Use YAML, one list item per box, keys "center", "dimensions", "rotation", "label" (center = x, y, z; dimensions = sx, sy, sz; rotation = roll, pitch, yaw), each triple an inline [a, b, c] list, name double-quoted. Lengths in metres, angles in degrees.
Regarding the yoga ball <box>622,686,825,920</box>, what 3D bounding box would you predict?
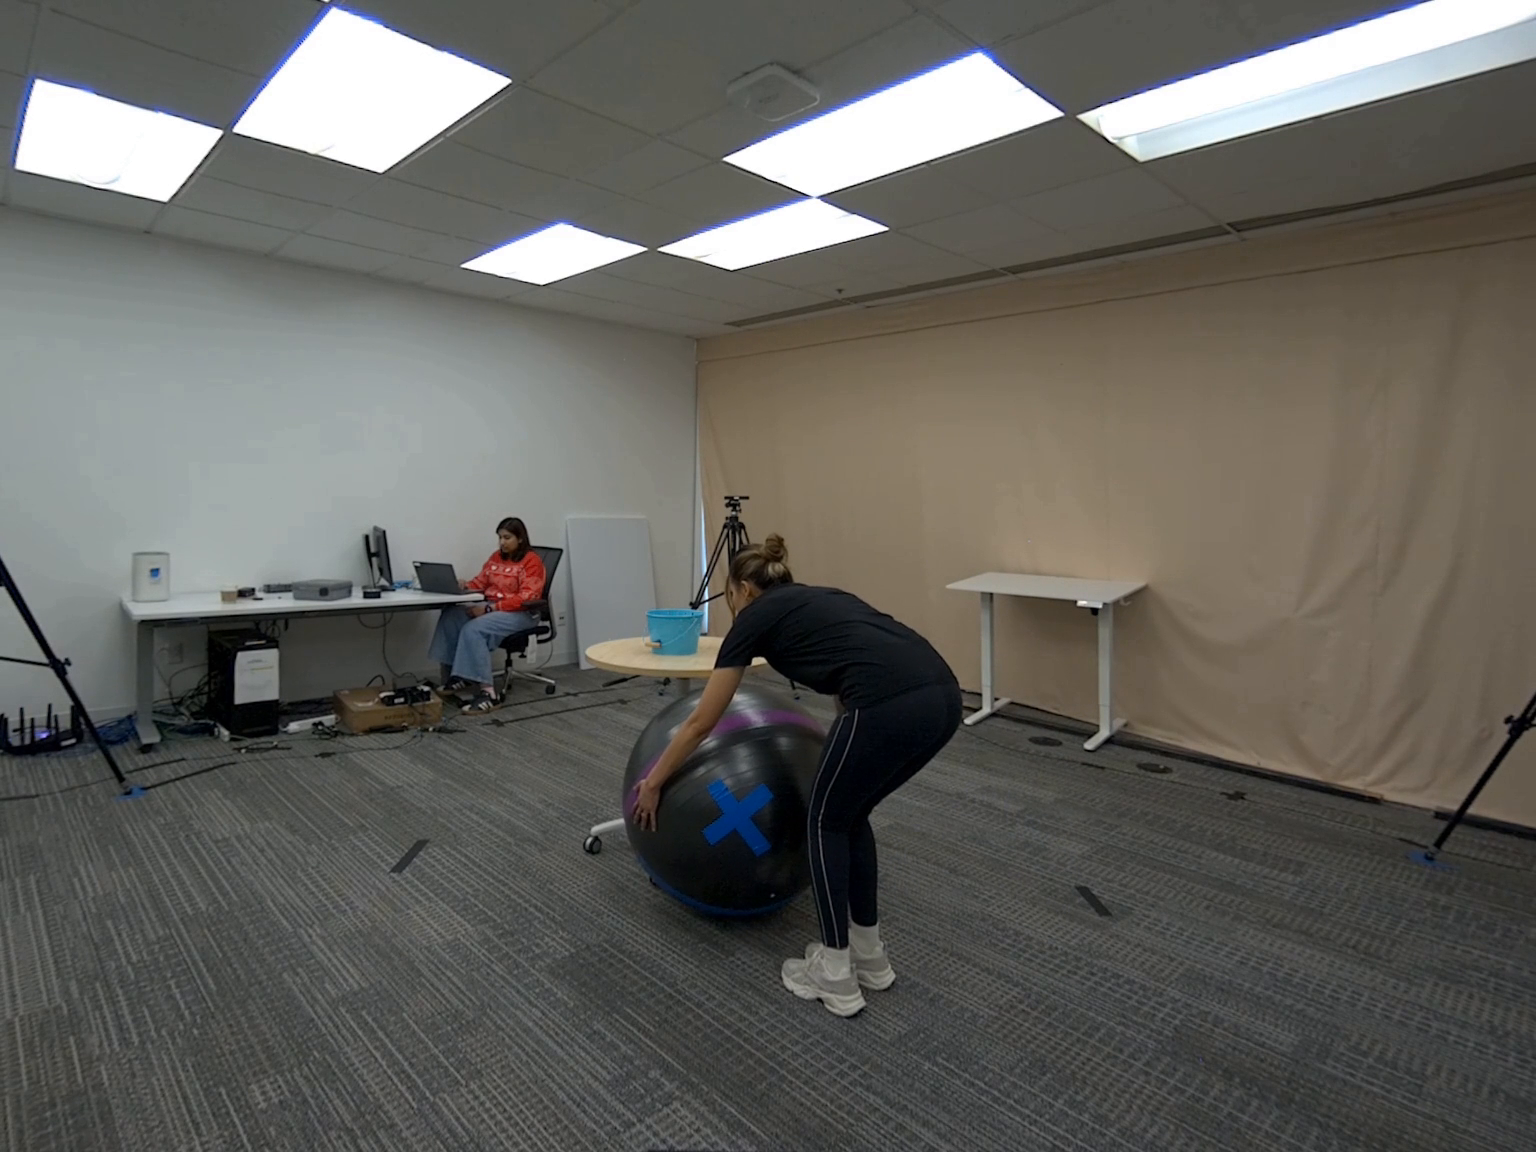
- center: [-0.120, 0.751, 2.844]
  dimensions: [0.757, 0.756, 0.761]
  rotation: [1, 4, -1]
  label: "yoga ball"
